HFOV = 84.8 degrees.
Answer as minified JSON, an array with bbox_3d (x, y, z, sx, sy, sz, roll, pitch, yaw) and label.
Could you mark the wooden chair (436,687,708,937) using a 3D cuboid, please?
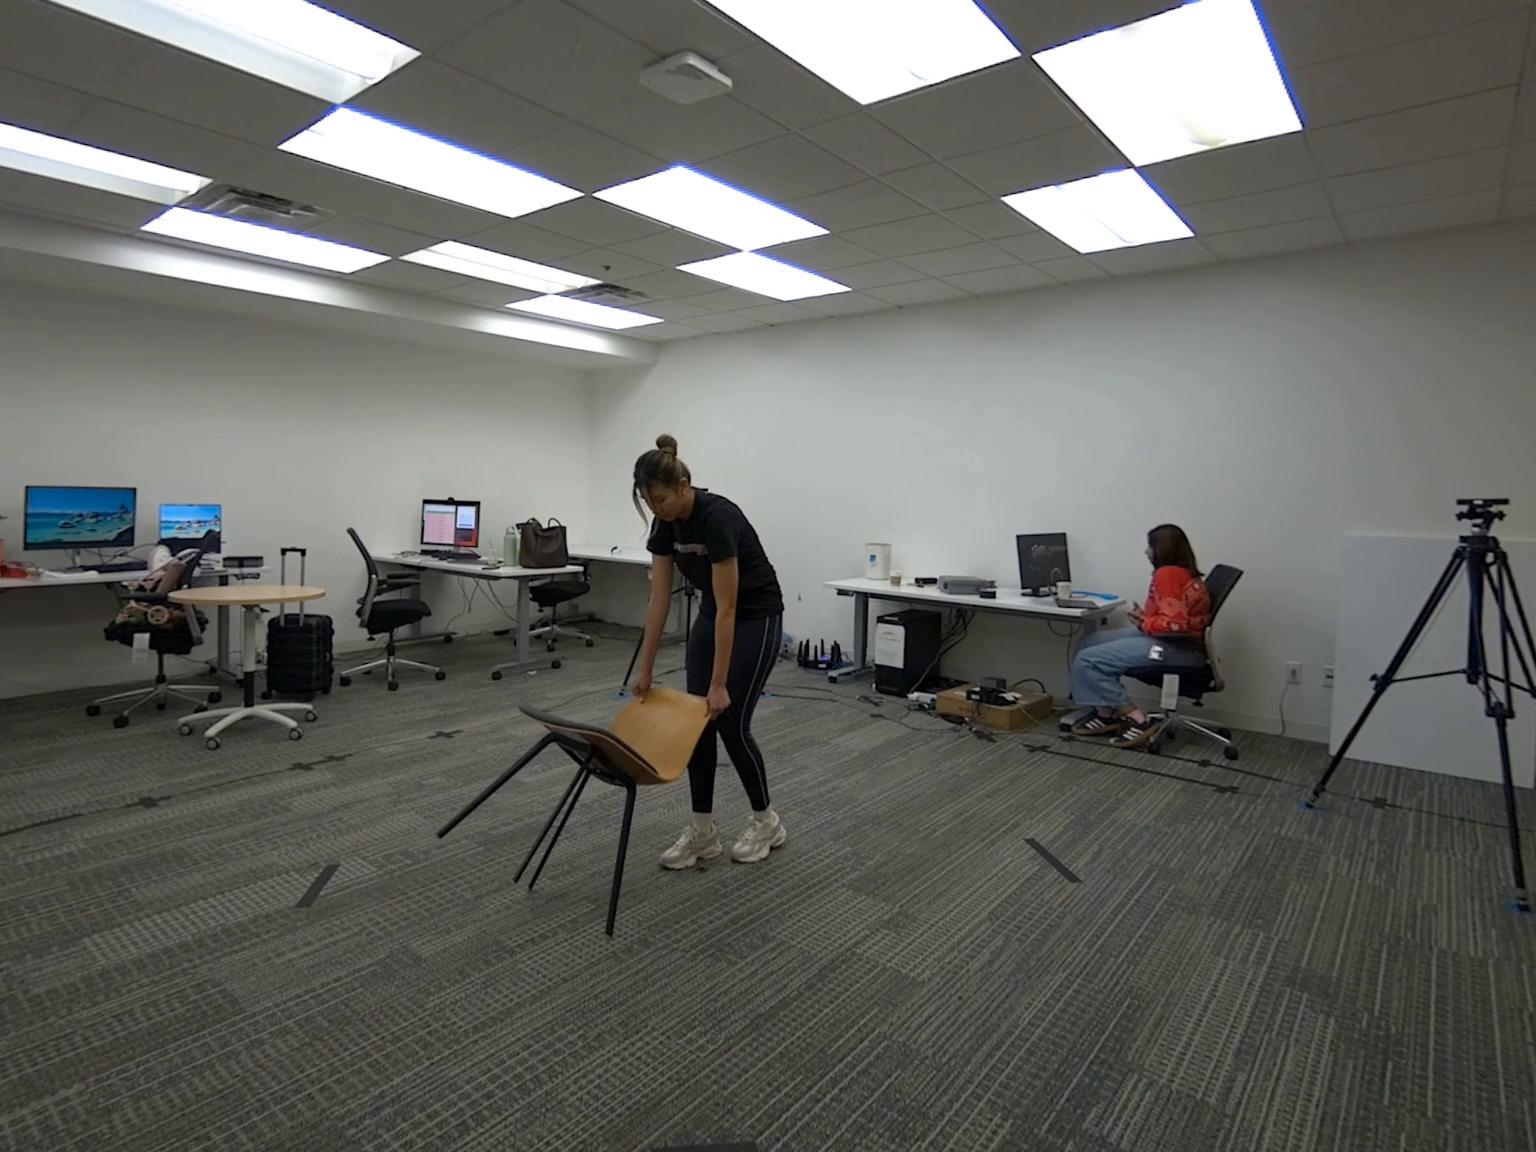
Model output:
[{"bbox_3d":[-0.593,0.612,2.809,0.494,0.882,0.503,3,-39,43],"label":"wooden chair"}]
